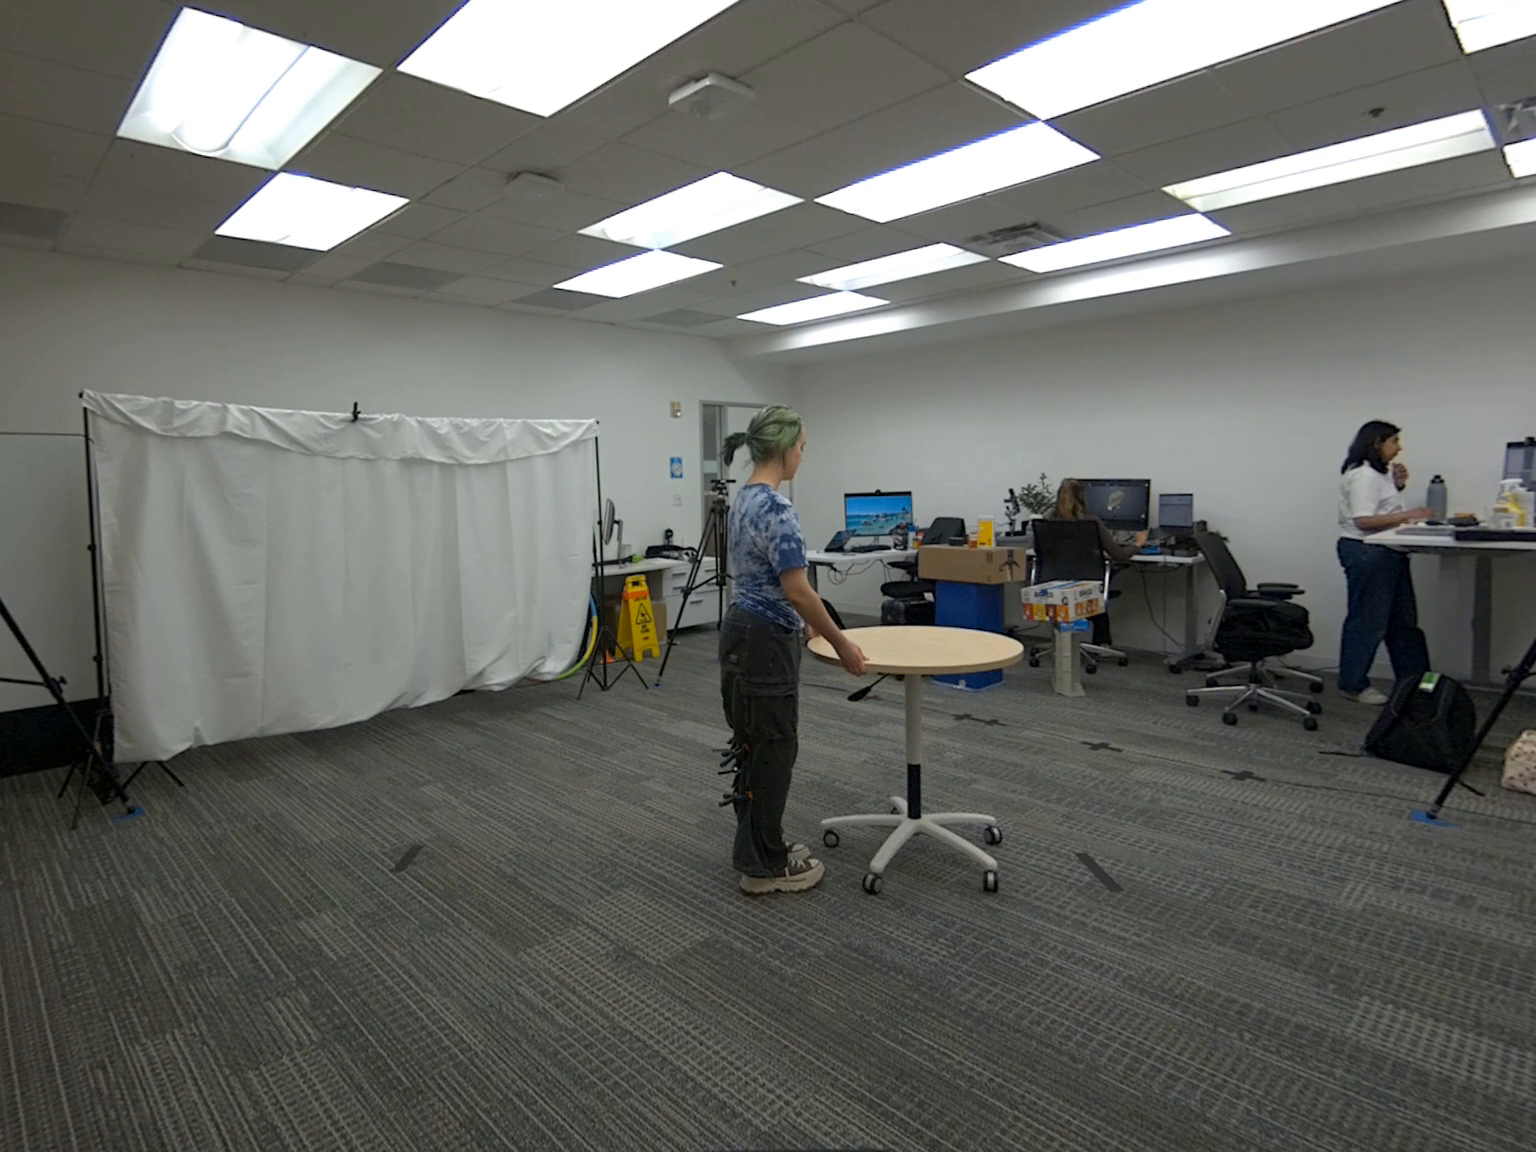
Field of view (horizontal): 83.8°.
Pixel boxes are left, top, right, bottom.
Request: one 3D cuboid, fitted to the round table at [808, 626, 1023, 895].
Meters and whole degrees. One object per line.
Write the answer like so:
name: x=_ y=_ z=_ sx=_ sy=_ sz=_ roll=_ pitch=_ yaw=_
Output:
round table: x=0.531 y=0.643 z=3.139 sx=0.763 sy=0.791 sz=0.768 roll=-1 pitch=5 yaw=-2
